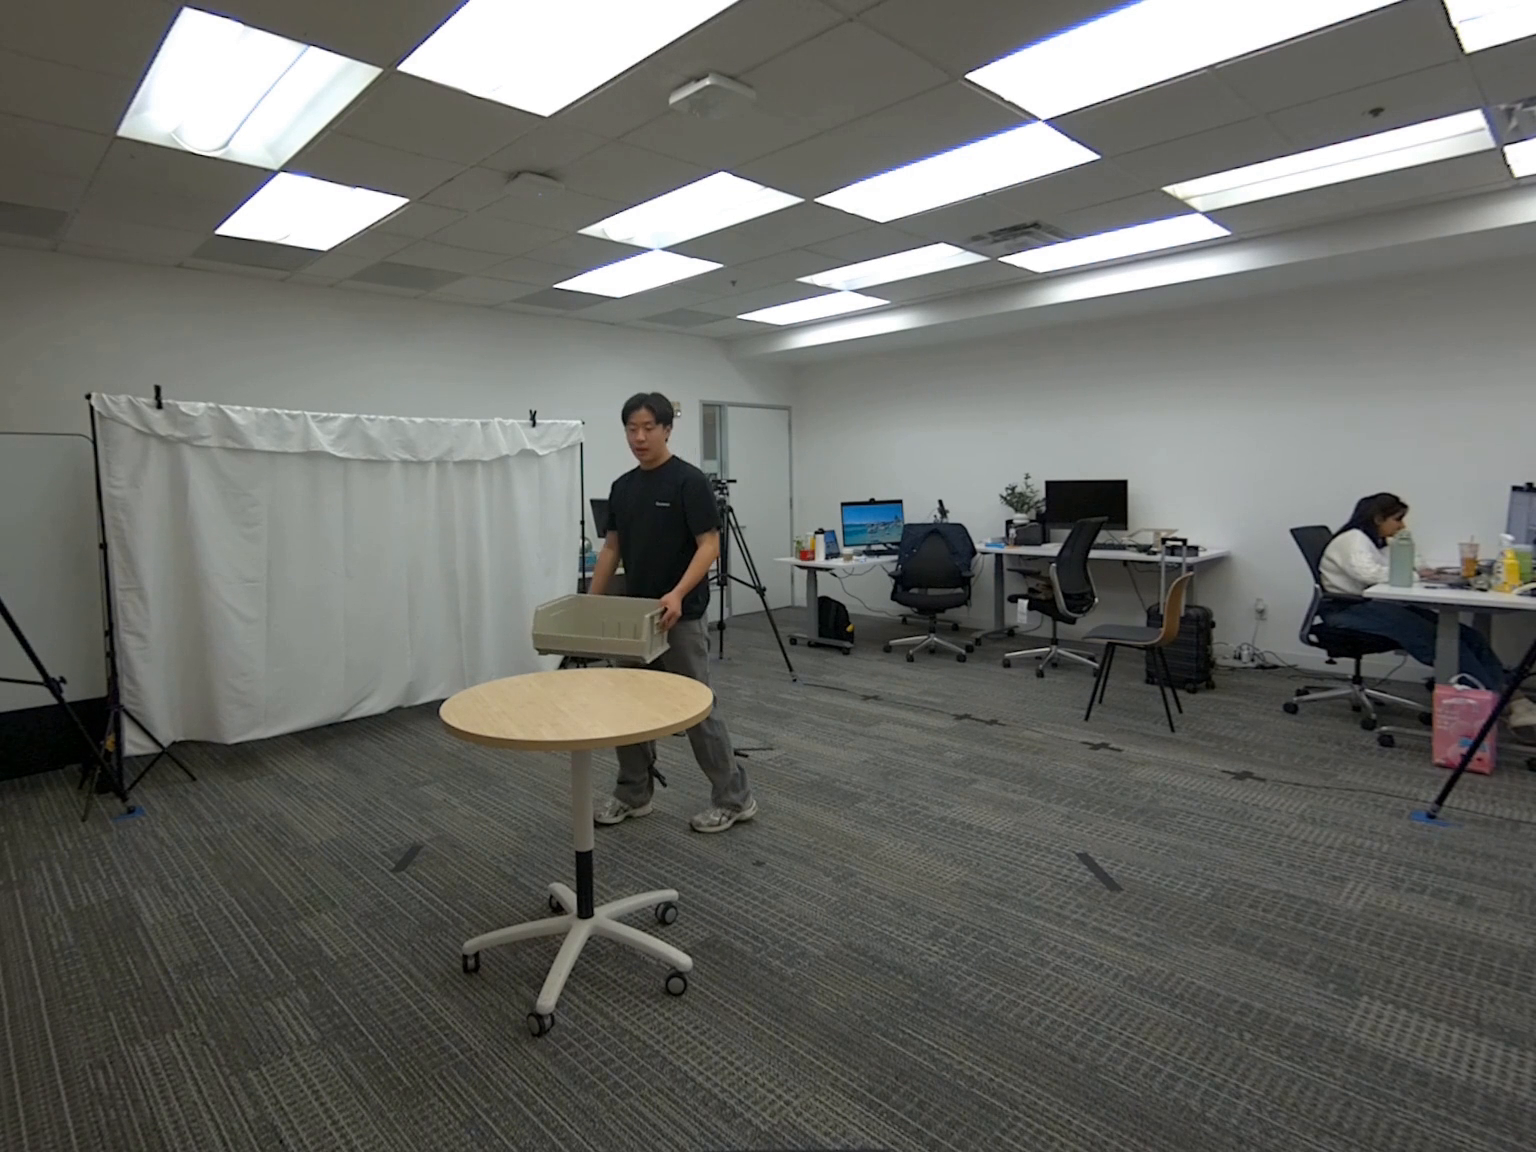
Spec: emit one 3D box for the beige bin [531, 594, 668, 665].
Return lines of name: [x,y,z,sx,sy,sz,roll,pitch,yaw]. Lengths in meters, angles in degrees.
beige bin: [-0.604,0.194,3.152,0.426,0.188,0.375,3,5,9]
